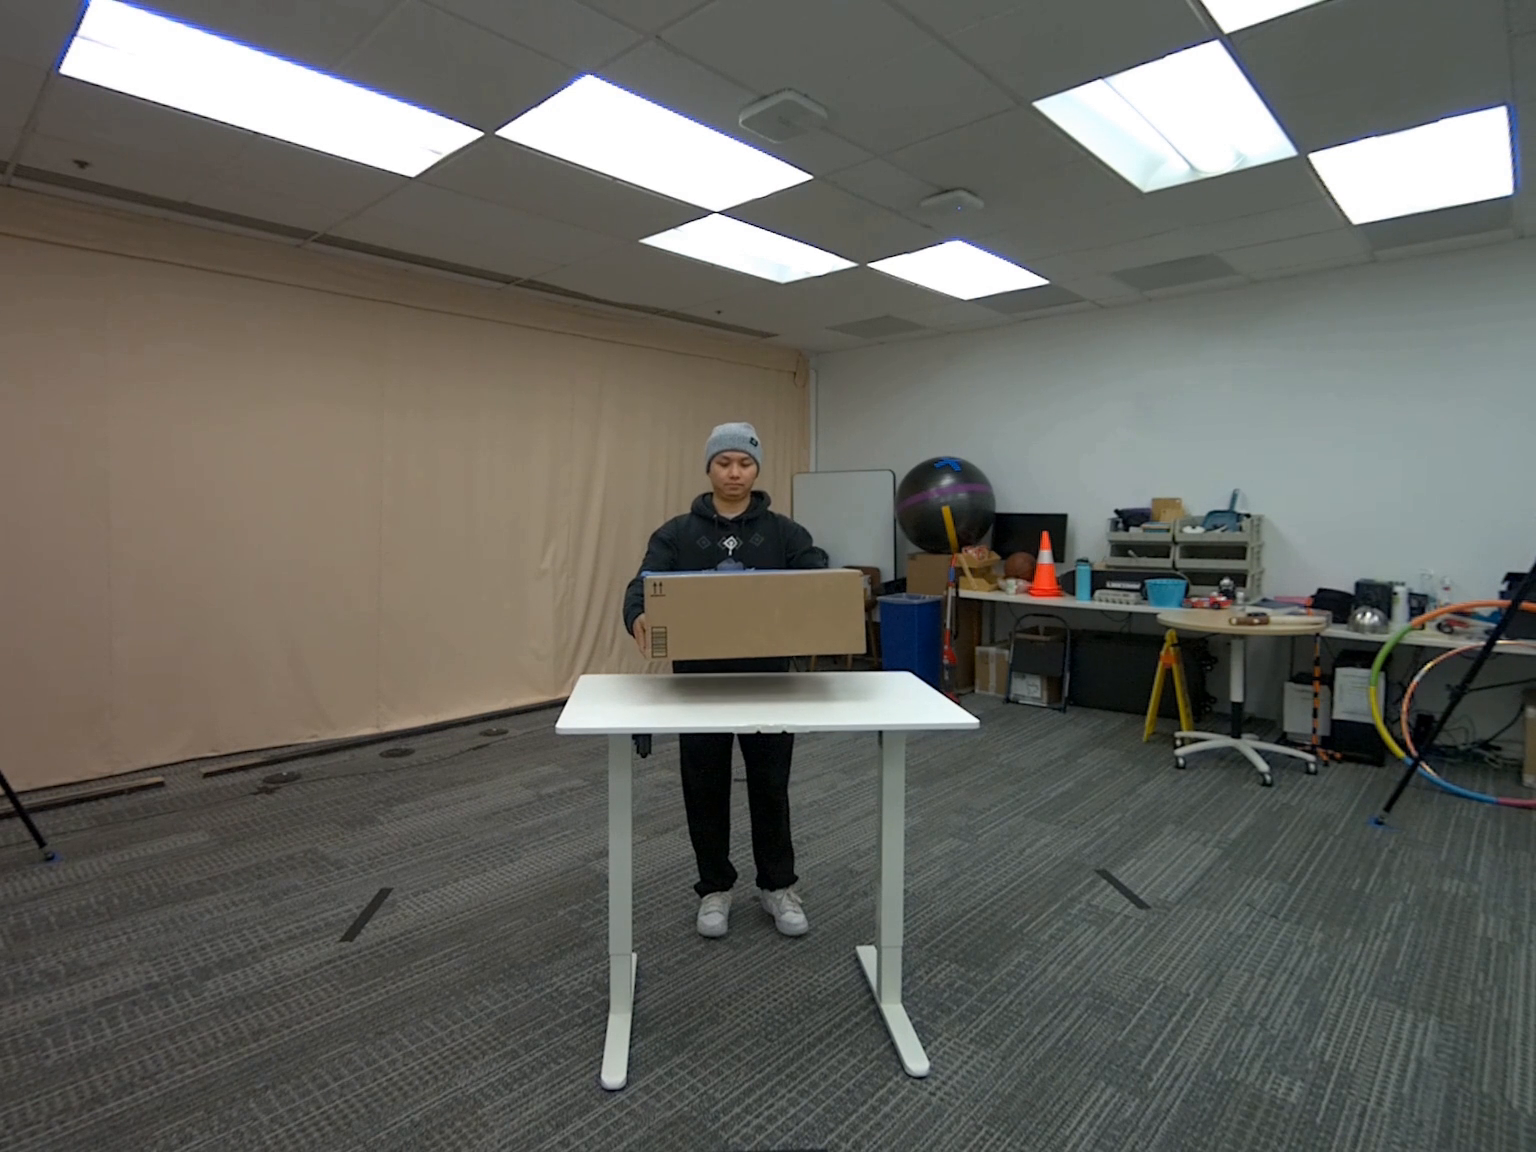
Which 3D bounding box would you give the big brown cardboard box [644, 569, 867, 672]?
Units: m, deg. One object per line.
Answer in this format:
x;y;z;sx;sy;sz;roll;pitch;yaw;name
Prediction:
-0.056;0.104;2.361;0.586;0.233;0.419;0;-1;-5;big brown cardboard box
